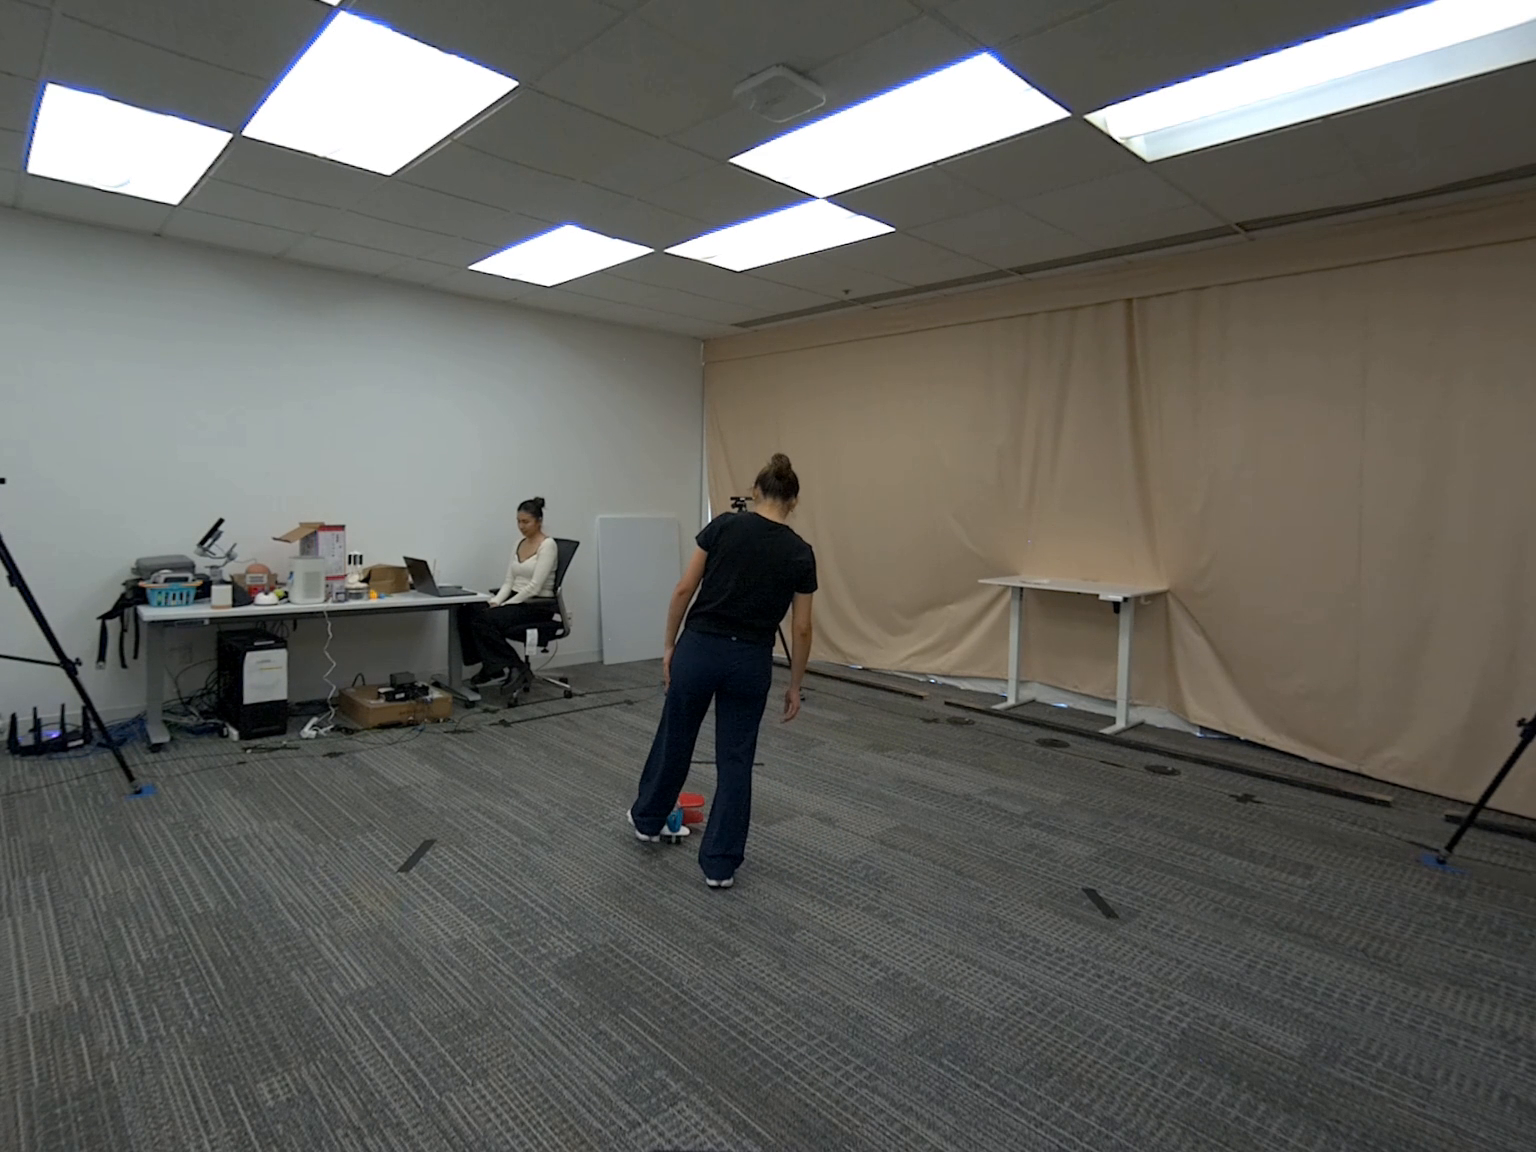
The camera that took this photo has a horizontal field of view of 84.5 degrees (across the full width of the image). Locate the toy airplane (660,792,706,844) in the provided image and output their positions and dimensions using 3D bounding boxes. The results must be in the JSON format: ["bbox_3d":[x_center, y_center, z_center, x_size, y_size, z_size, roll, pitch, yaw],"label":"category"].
[{"bbox_3d":[-0.374,0.997,3.462,0.245,0.156,0.265,0,4,-36],"label":"toy airplane"}]
